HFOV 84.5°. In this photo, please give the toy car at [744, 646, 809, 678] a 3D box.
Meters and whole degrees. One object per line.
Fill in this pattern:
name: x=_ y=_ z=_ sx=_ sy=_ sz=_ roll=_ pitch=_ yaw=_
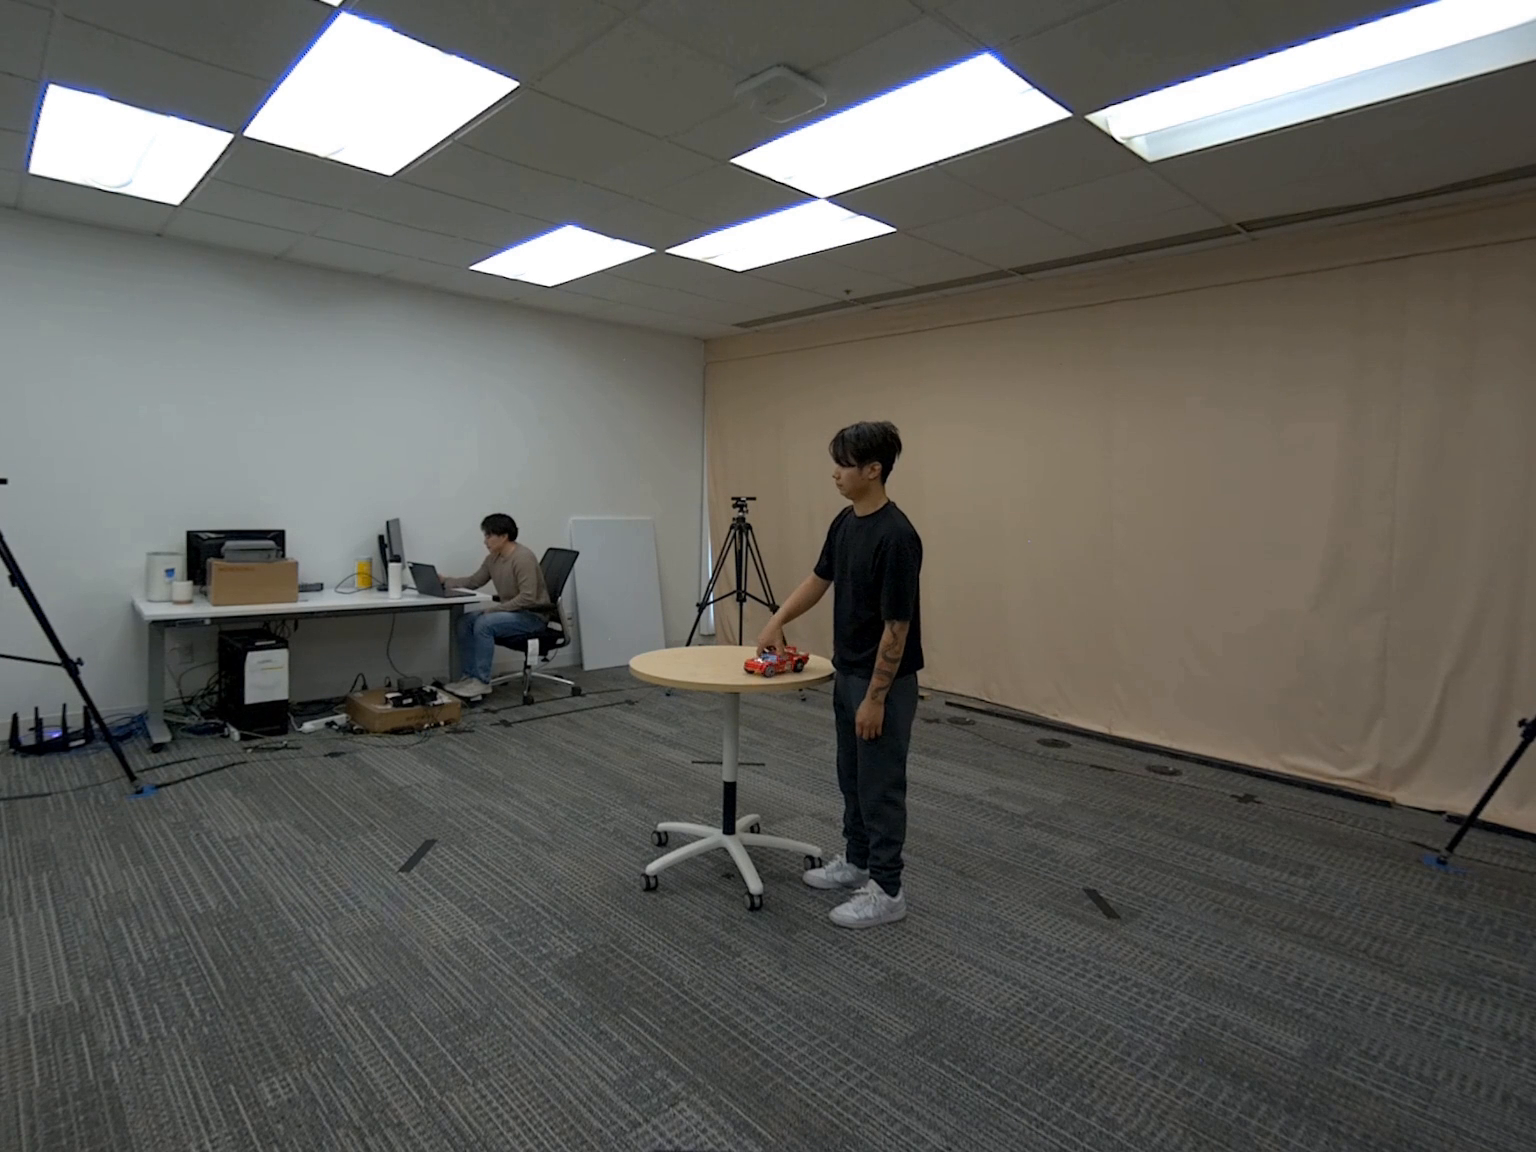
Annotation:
toy car: x=0.034 y=0.305 z=2.963 sx=0.250 sy=0.082 sz=0.133 roll=-18 pitch=14 yaw=-40
